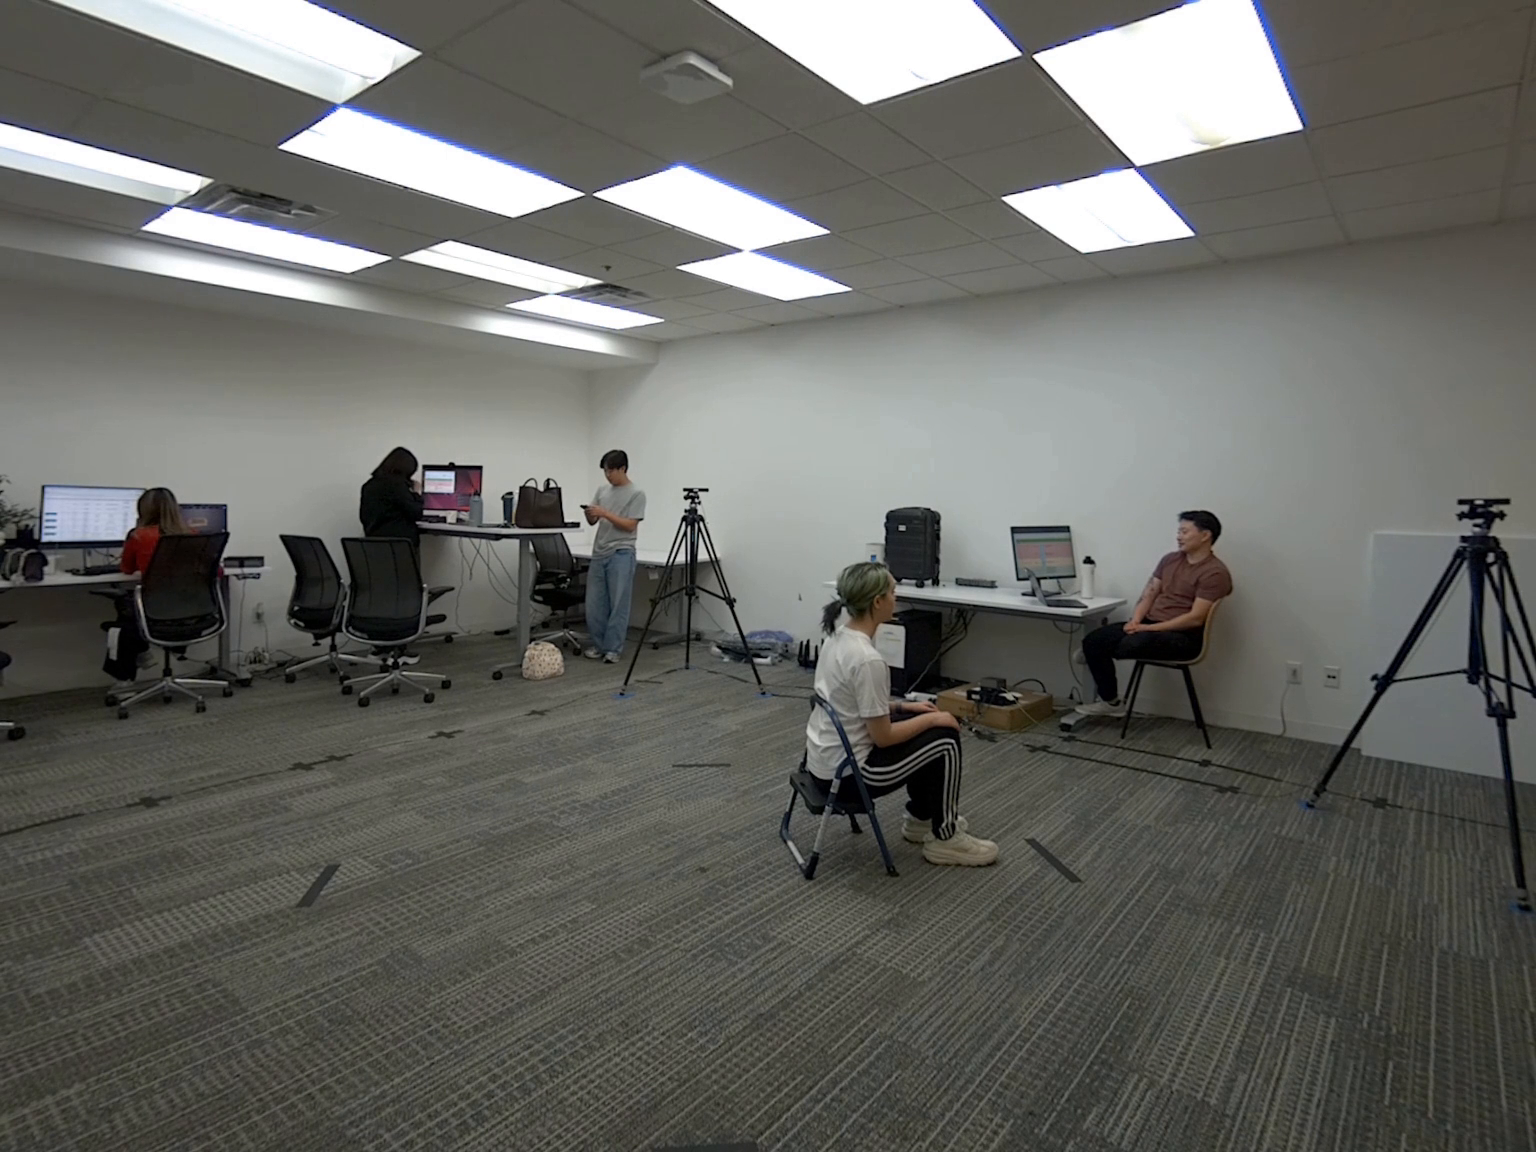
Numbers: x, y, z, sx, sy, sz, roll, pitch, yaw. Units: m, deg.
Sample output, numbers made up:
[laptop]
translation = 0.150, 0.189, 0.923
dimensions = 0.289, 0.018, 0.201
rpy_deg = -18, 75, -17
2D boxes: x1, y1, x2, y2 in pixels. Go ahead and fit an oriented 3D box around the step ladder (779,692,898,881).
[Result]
[step ladder]
translation = 0.257, 0.769, 3.259
dimensions = 0.345, 0.604, 0.437
rpy_deg = 2, 3, -13
